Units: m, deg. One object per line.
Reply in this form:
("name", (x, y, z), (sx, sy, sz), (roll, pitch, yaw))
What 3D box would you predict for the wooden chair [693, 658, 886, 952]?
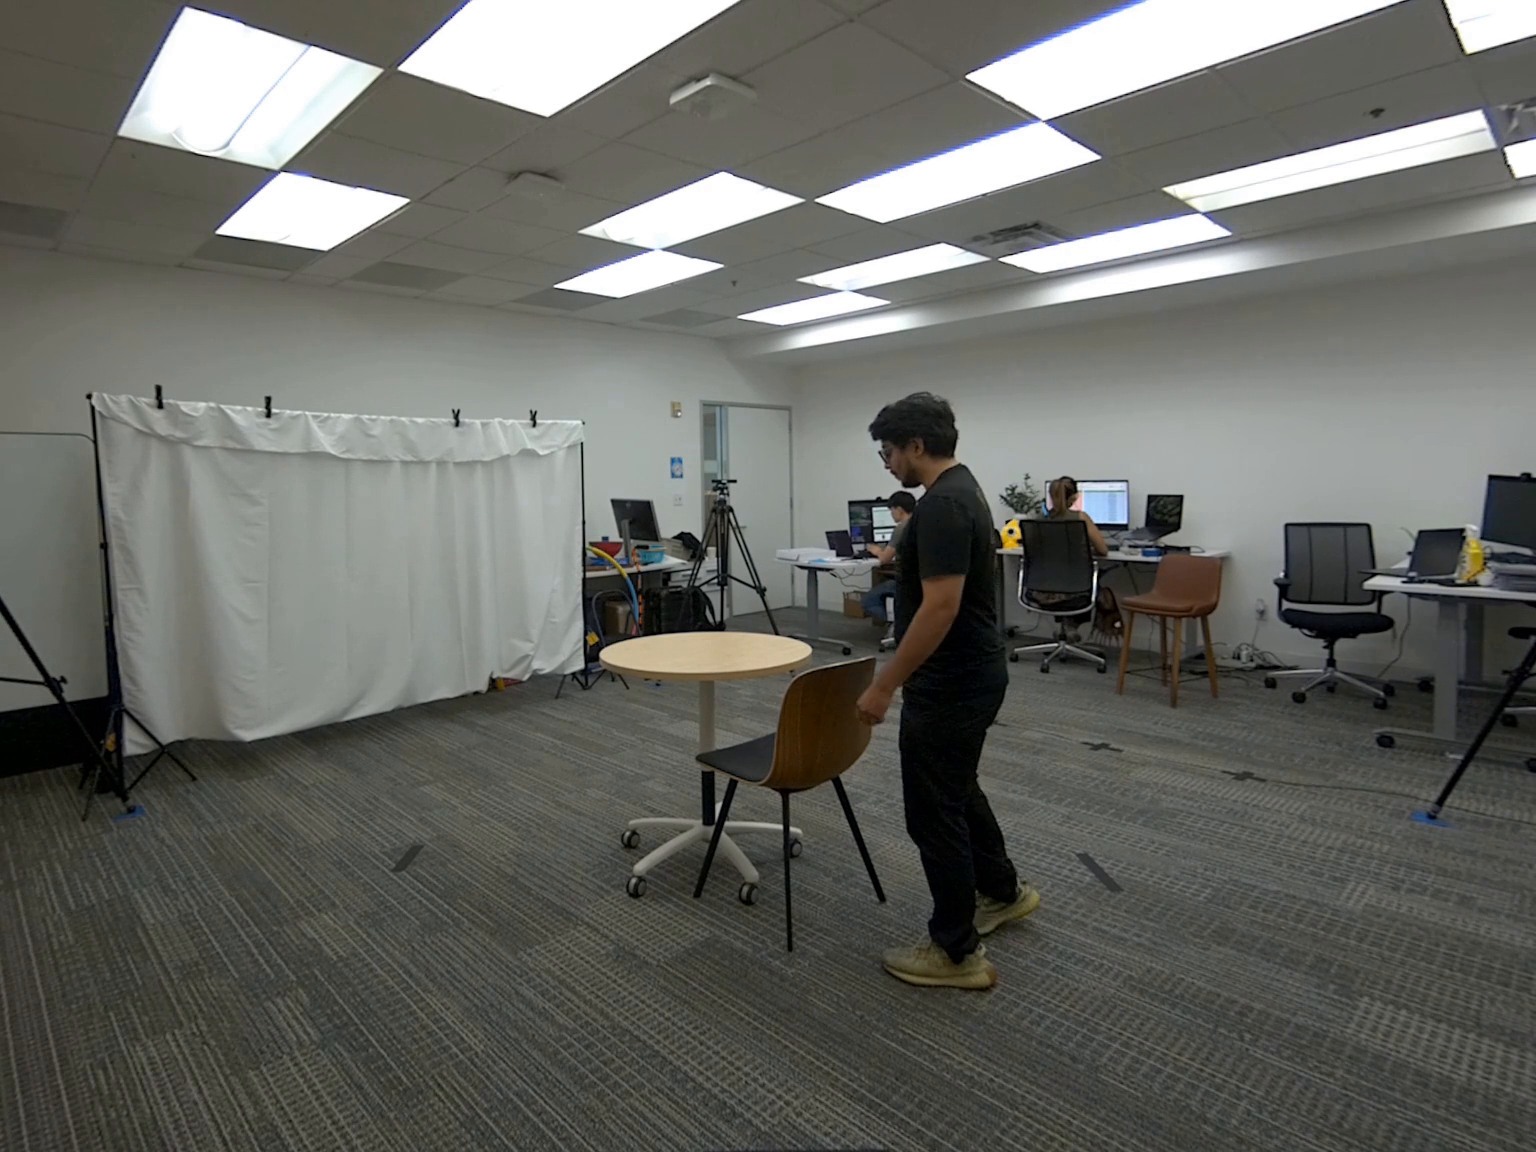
("wooden chair", (0.060, 0.649, 2.817), (0.466, 0.871, 0.541), (-6, 11, -41))
